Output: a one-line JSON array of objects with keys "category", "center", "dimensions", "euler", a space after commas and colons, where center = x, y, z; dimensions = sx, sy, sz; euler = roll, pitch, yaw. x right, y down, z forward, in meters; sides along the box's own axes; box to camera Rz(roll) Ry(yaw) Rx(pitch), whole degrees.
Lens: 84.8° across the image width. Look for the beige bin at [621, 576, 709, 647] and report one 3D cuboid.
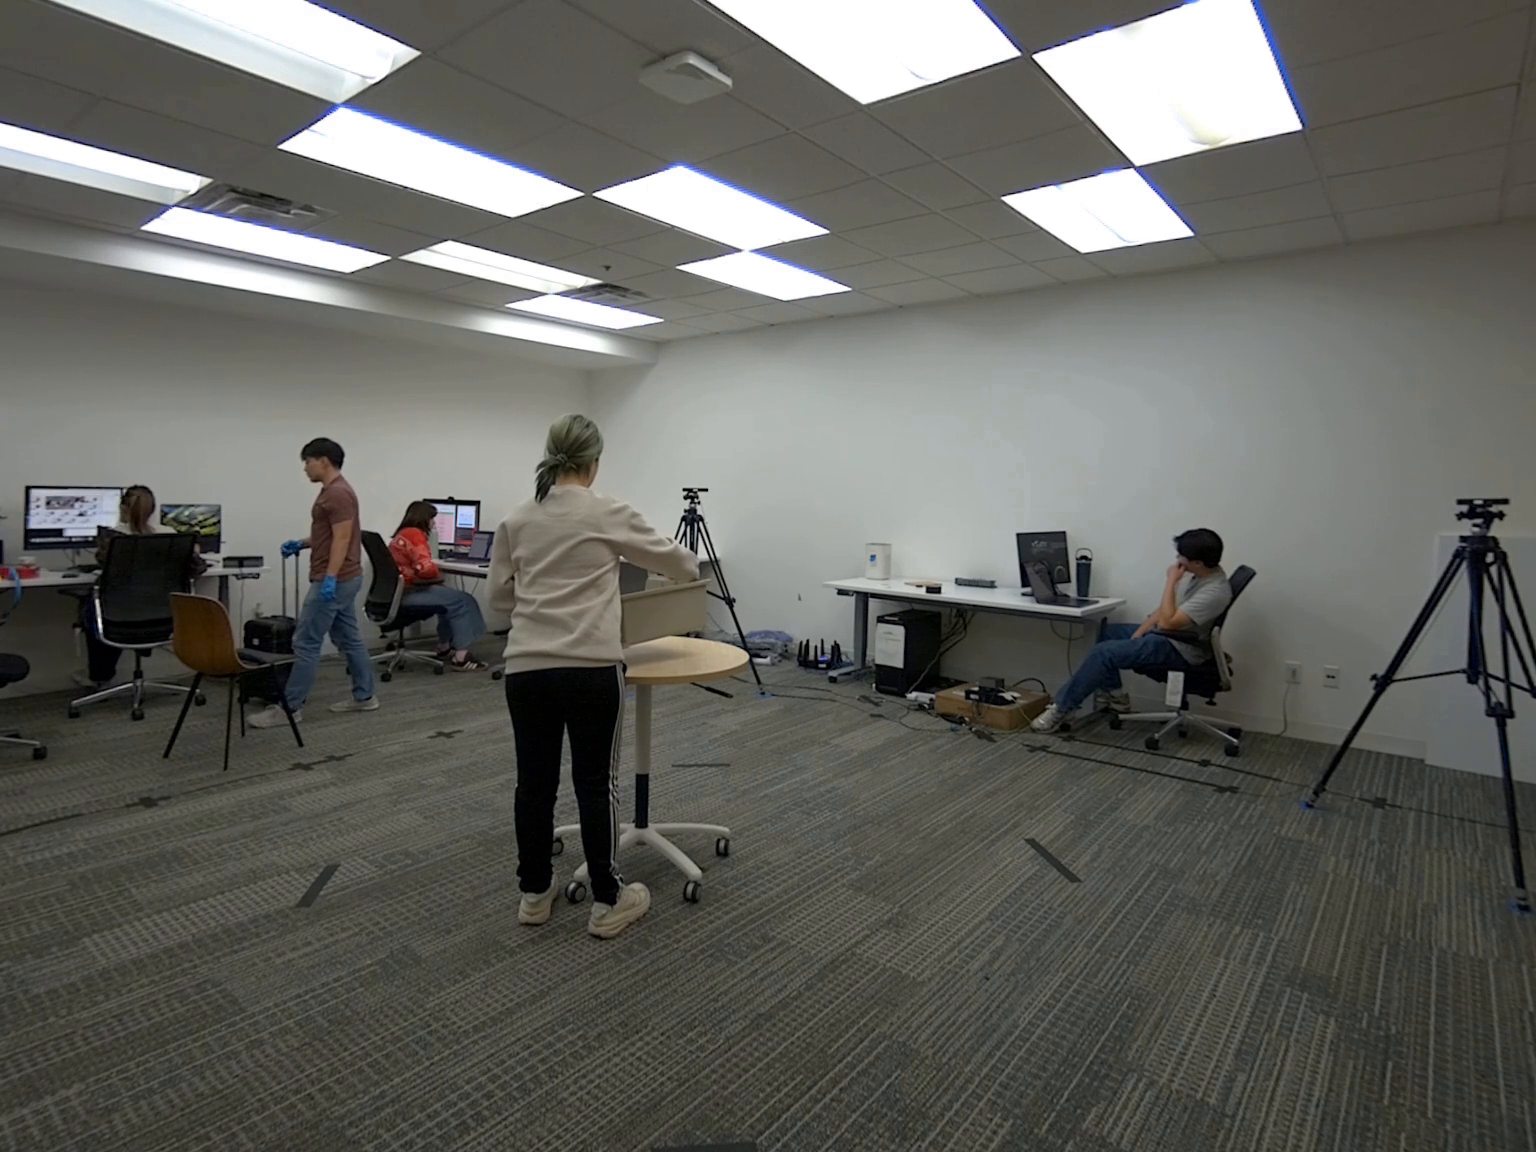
[{"category": "beige bin", "center": [-0.487, 0.120, 3.064], "dimensions": [0.390, 0.188, 0.410], "euler": [5, 9, 44]}]
